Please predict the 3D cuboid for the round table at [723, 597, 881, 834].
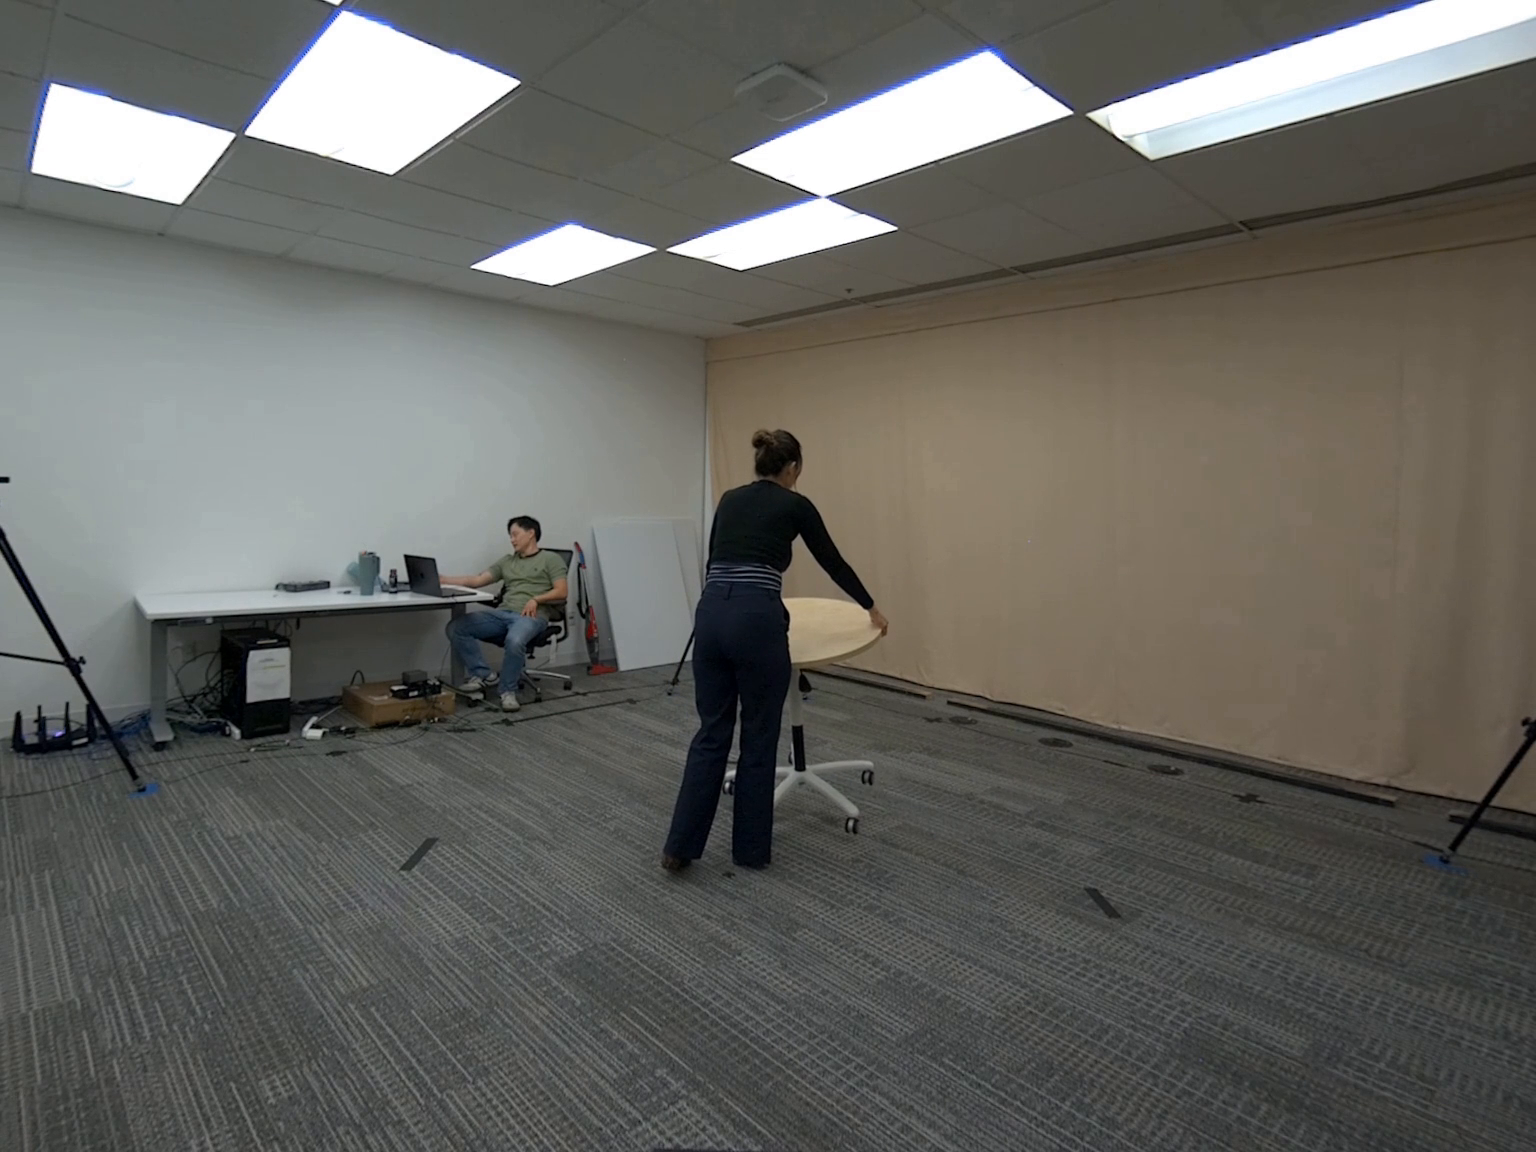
[{"bbox_3d":[0.113,0.601,3.627,0.764,0.785,0.772,-4,15,0],"label":"round table"}]
